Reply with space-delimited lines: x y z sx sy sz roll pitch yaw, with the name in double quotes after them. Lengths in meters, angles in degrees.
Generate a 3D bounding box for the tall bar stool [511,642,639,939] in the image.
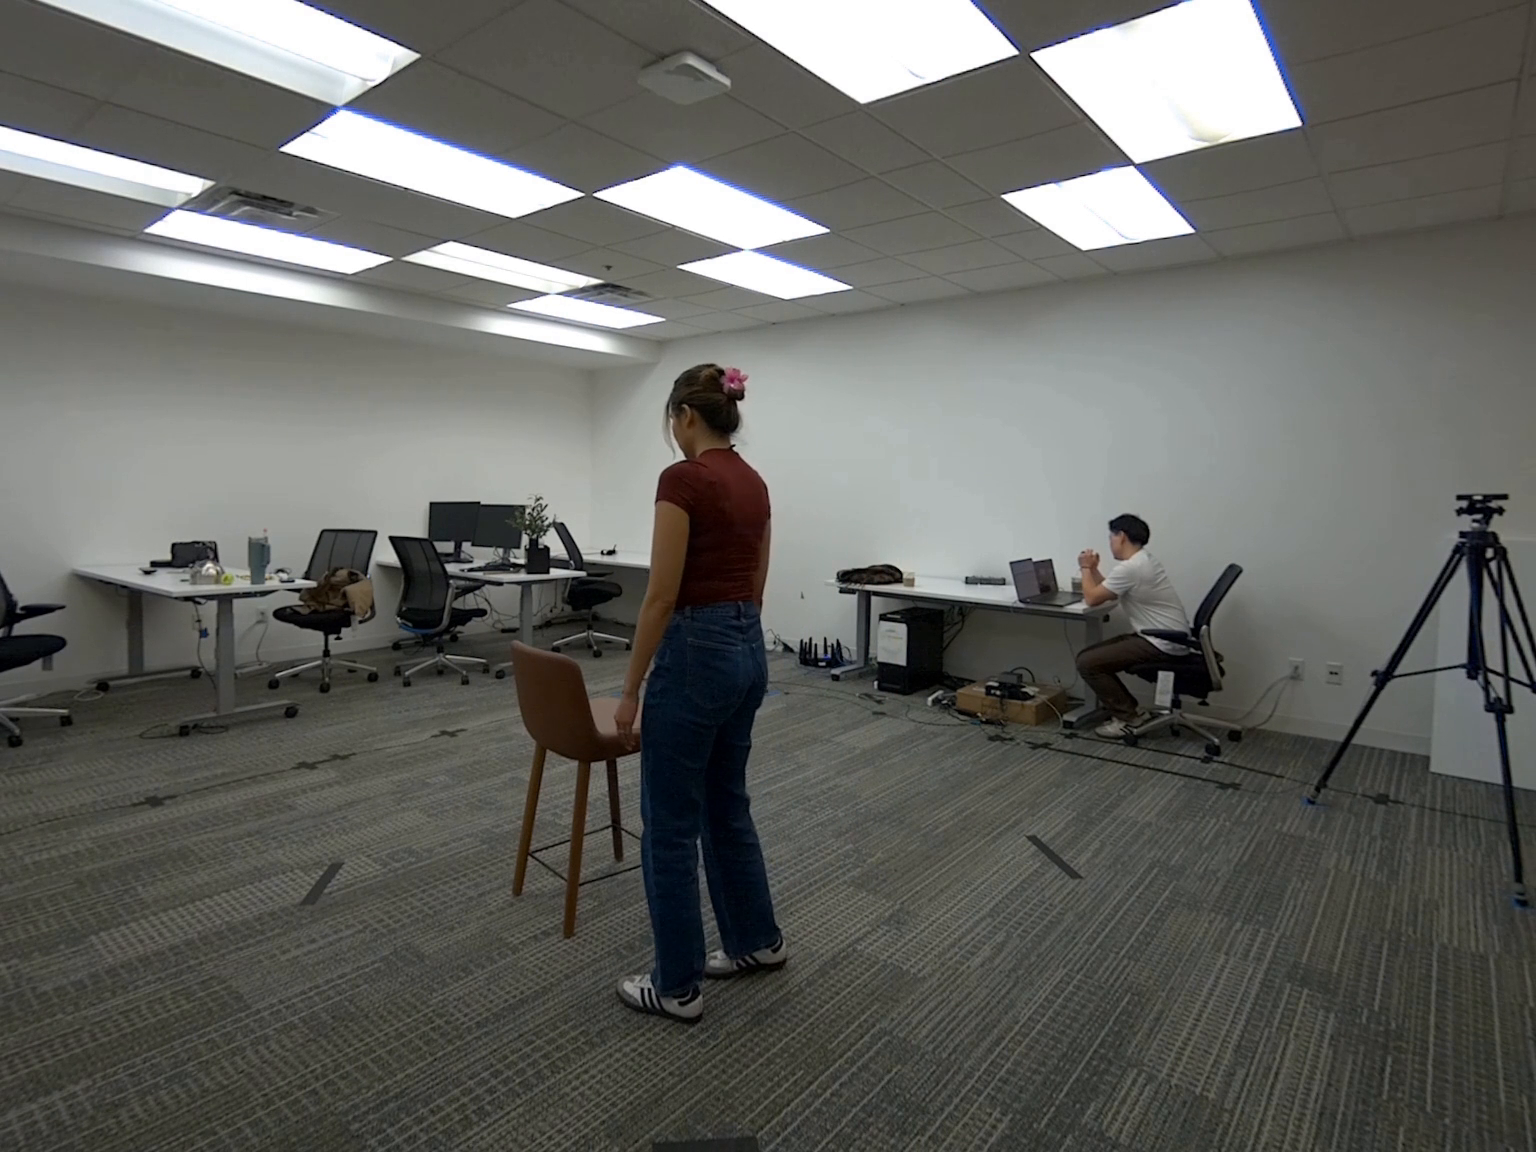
-0.593 0.650 2.868 0.454 0.886 0.472 -4 5 -42 "tall bar stool"
